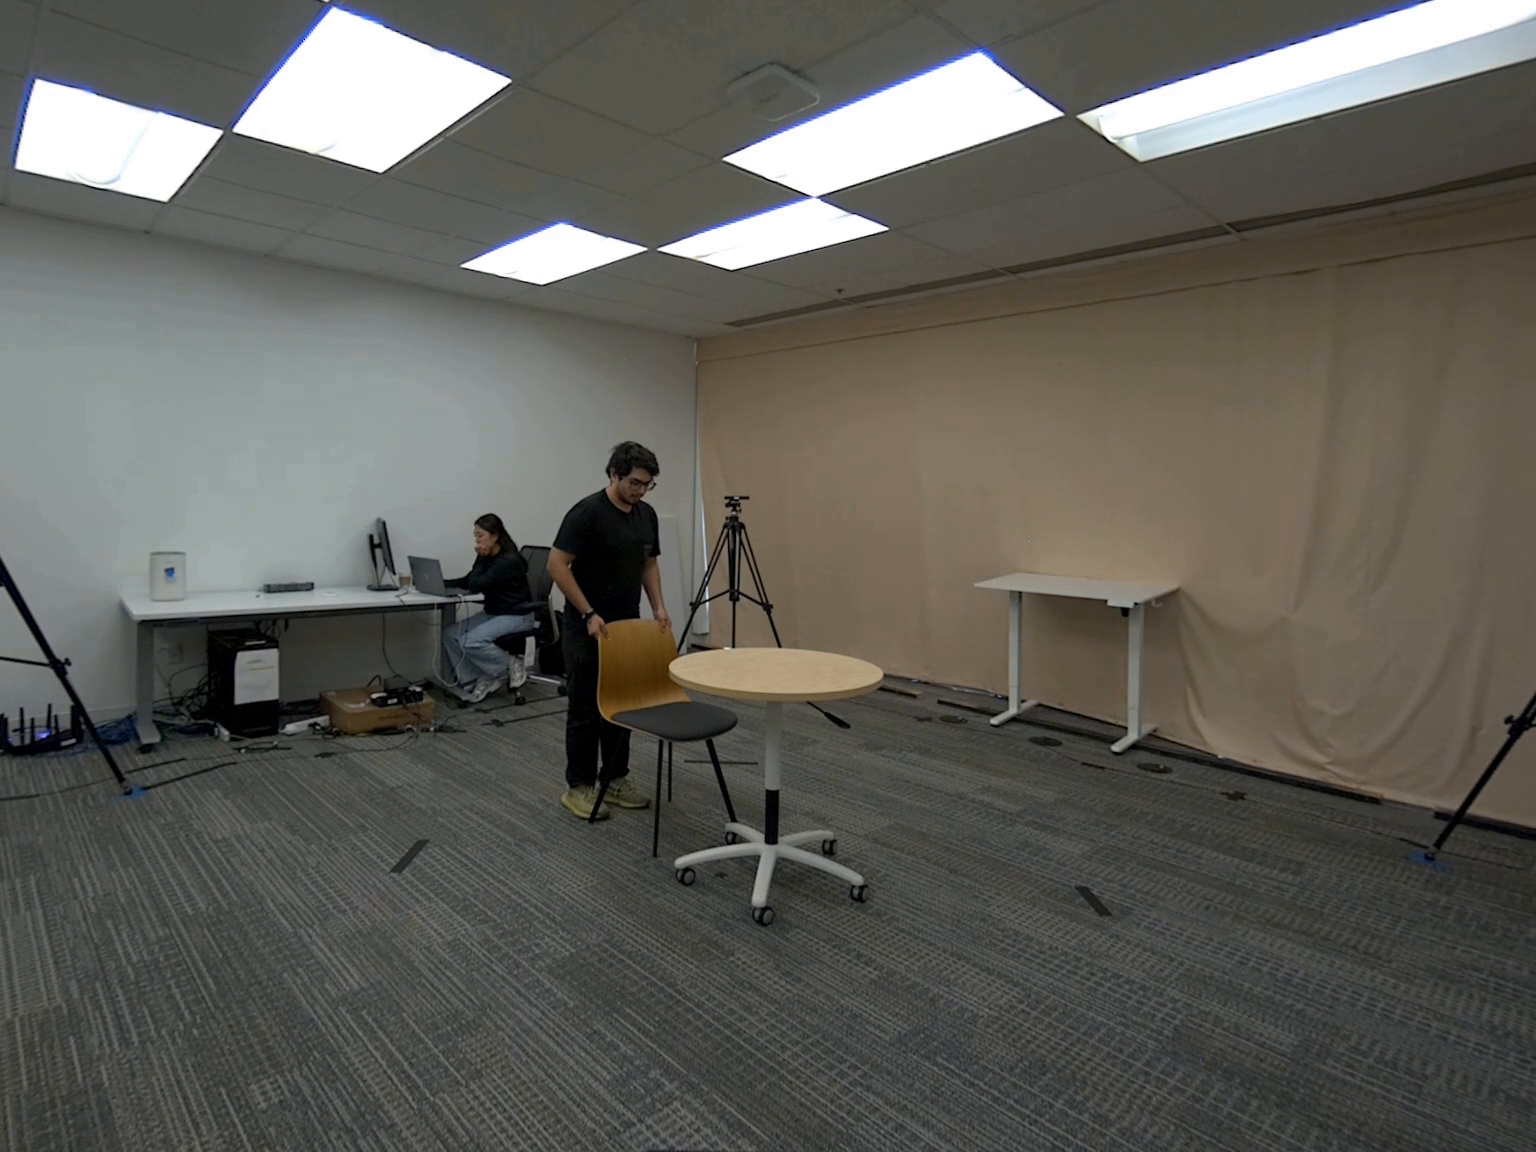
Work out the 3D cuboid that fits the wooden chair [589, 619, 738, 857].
[{"bbox_3d":[-0.431,0.634,3.522,0.467,0.878,0.535,-1,0,-45],"label":"wooden chair"}]
